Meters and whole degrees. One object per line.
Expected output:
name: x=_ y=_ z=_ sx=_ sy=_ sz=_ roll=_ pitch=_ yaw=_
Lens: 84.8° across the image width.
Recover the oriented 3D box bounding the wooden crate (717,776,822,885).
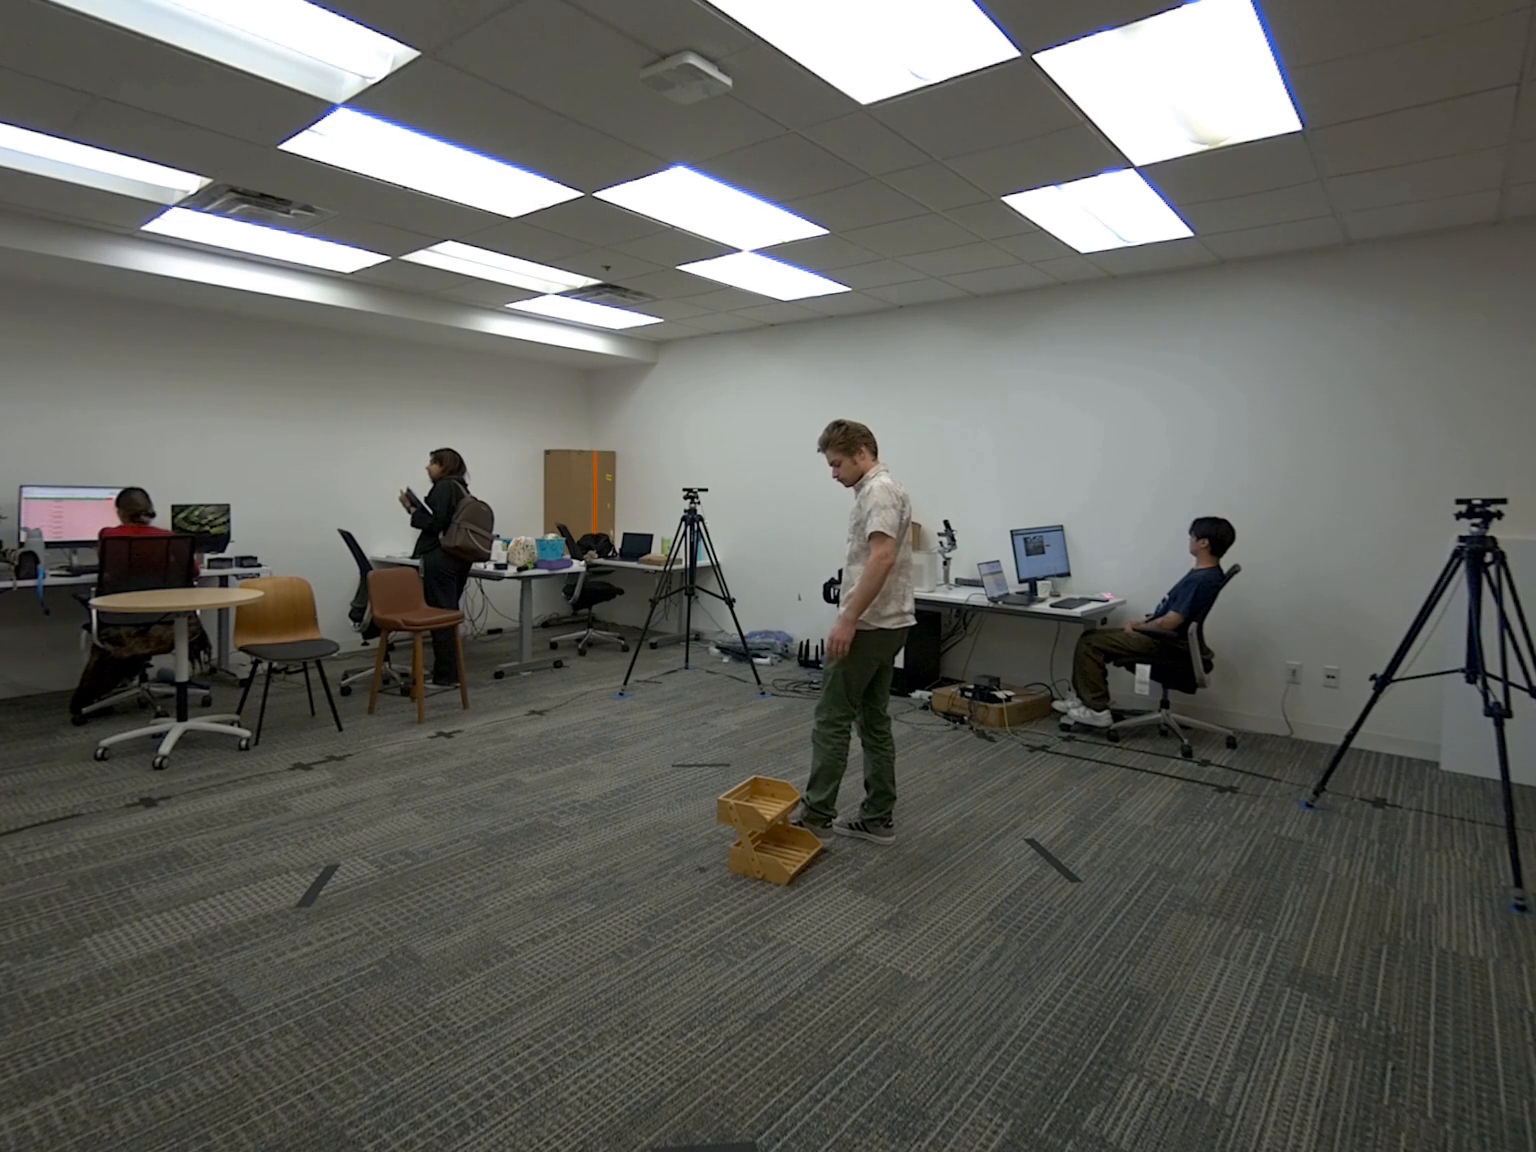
wooden crate: x=0.005 y=0.935 z=3.173 sx=0.310 sy=0.272 sz=0.316 roll=2 pitch=4 yaw=28
